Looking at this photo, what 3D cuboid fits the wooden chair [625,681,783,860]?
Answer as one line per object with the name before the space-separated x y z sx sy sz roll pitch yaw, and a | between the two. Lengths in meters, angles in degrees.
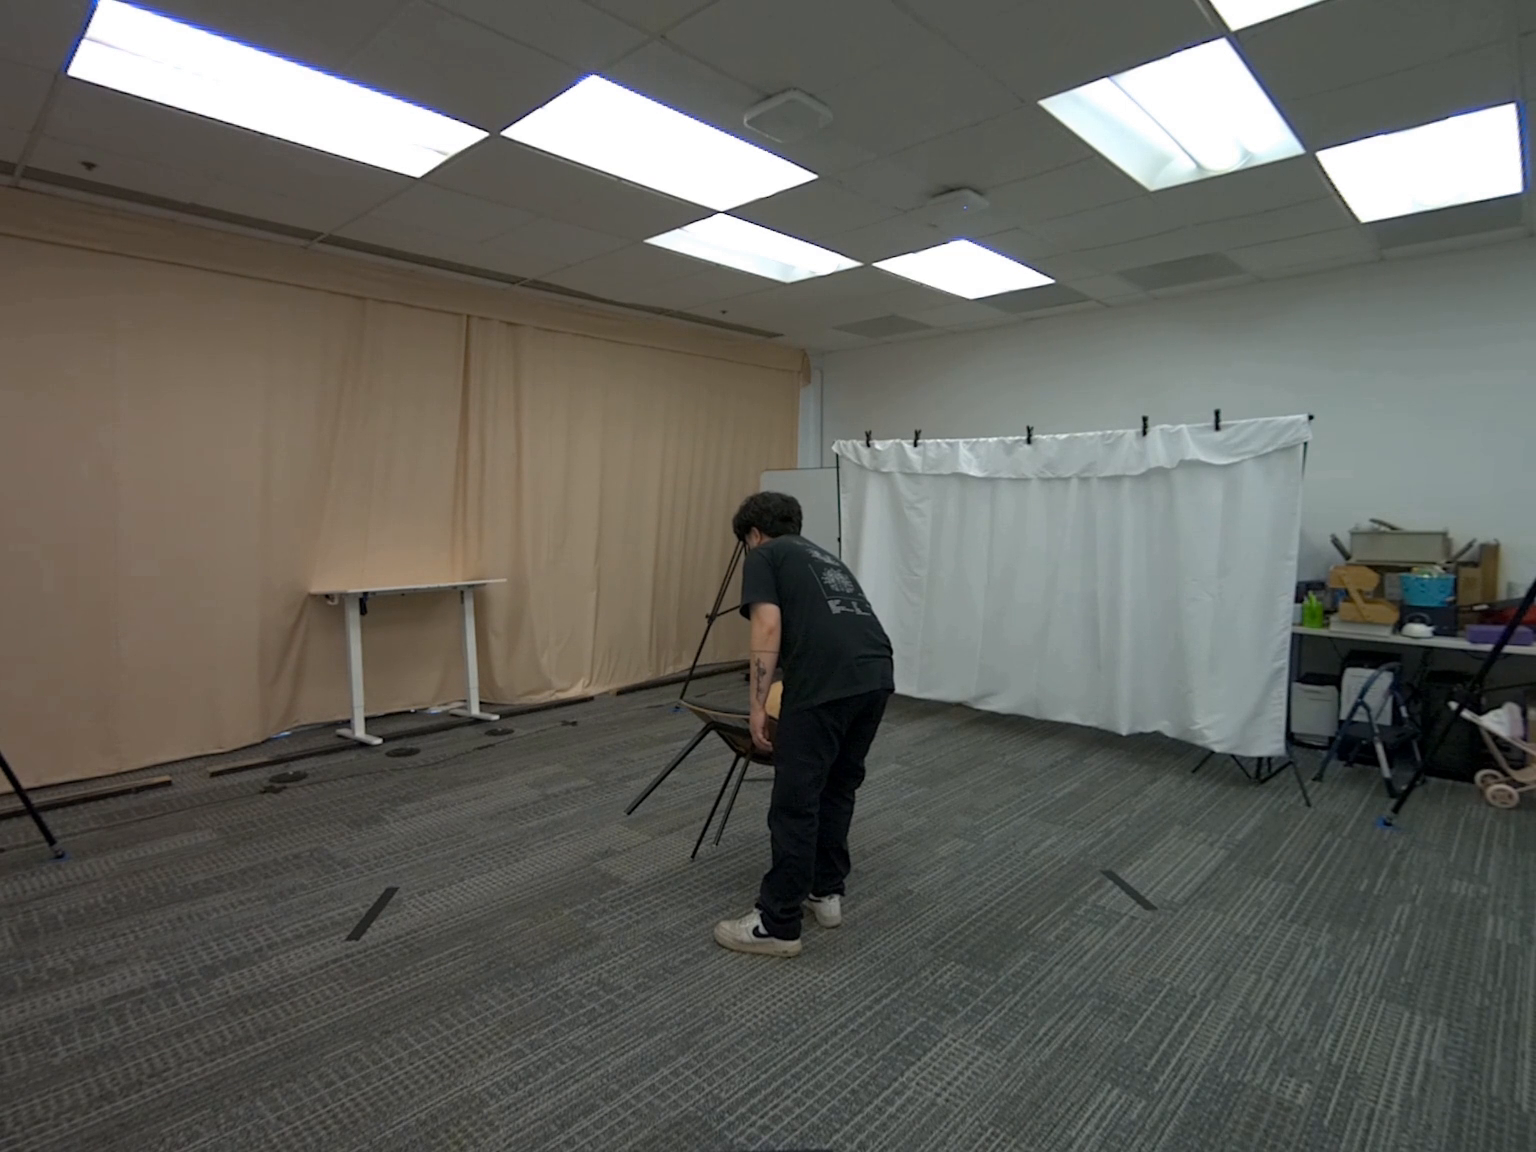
wooden chair | -0.079 0.649 3.205 0.494 0.877 0.506 3 -37 41
